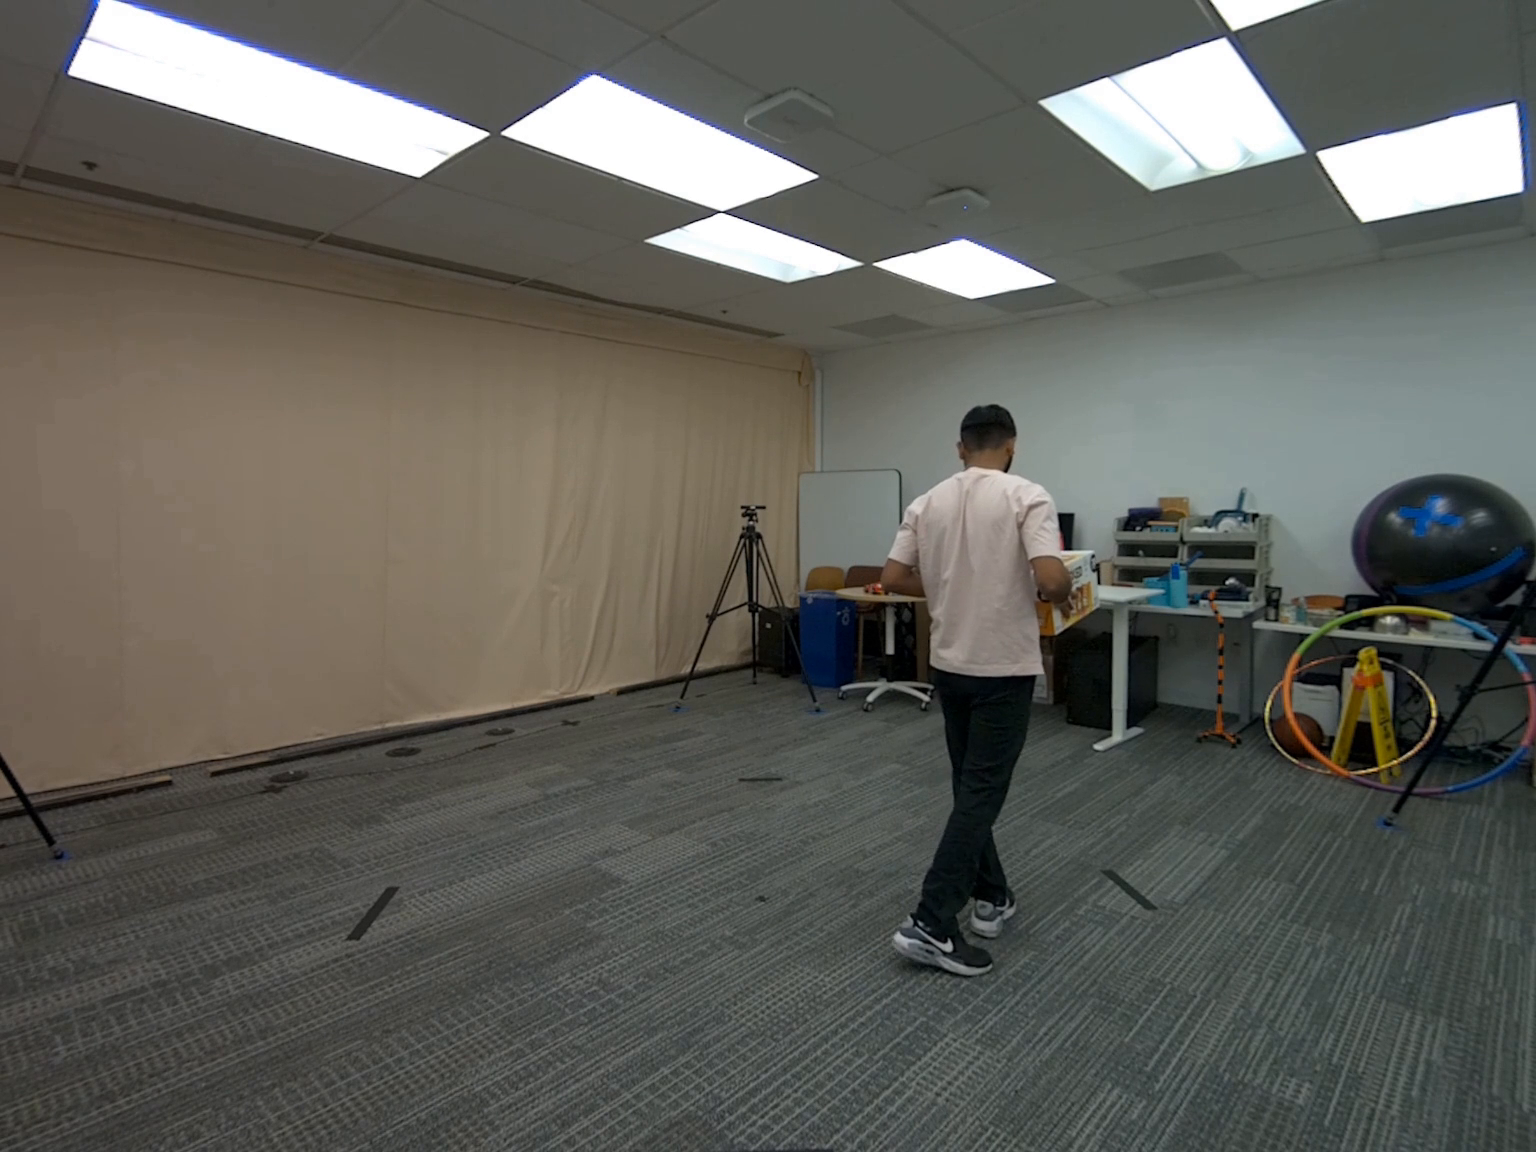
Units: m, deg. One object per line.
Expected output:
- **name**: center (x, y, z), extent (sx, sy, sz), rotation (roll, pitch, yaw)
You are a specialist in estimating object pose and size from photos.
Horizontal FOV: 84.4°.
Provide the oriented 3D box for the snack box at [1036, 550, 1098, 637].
- **snack box**: center (0.897, 0.052, 2.898), extent (0.351, 0.204, 0.394), rotation (0, 11, 42)
